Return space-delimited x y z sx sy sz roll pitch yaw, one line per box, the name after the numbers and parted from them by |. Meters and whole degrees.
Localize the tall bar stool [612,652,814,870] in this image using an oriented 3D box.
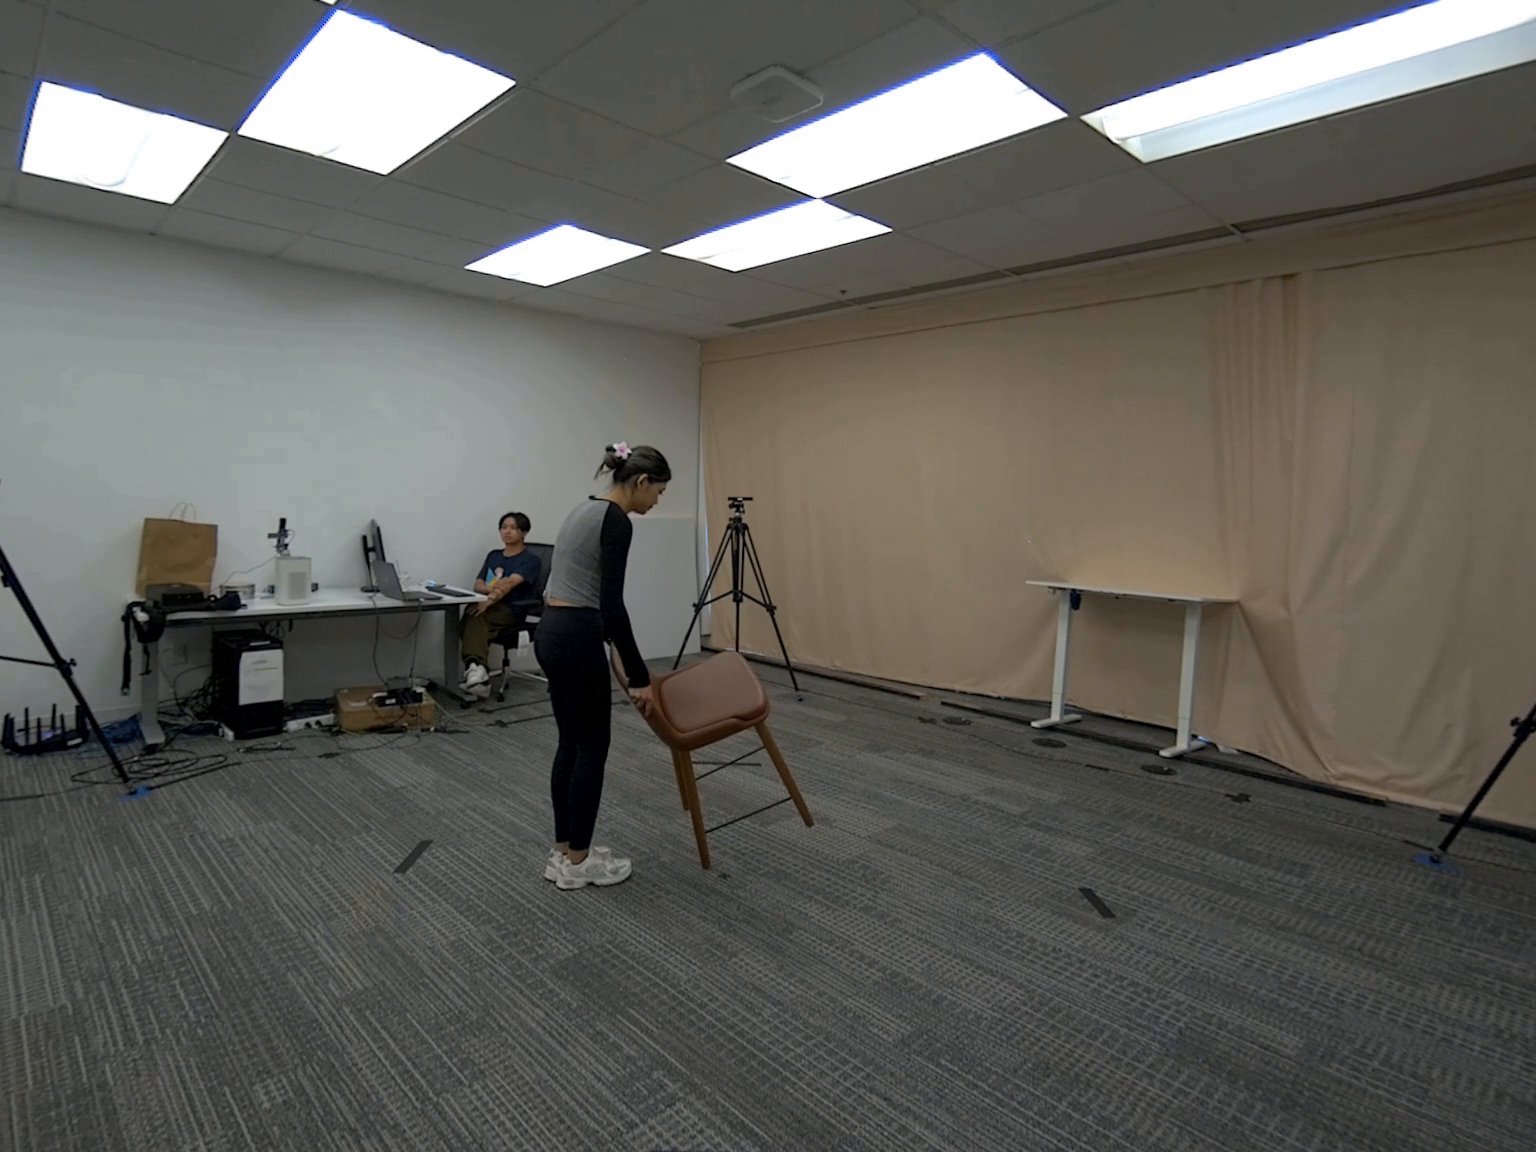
-0.220 0.586 3.169 0.466 0.870 0.468 -23 25 -7 | tall bar stool
